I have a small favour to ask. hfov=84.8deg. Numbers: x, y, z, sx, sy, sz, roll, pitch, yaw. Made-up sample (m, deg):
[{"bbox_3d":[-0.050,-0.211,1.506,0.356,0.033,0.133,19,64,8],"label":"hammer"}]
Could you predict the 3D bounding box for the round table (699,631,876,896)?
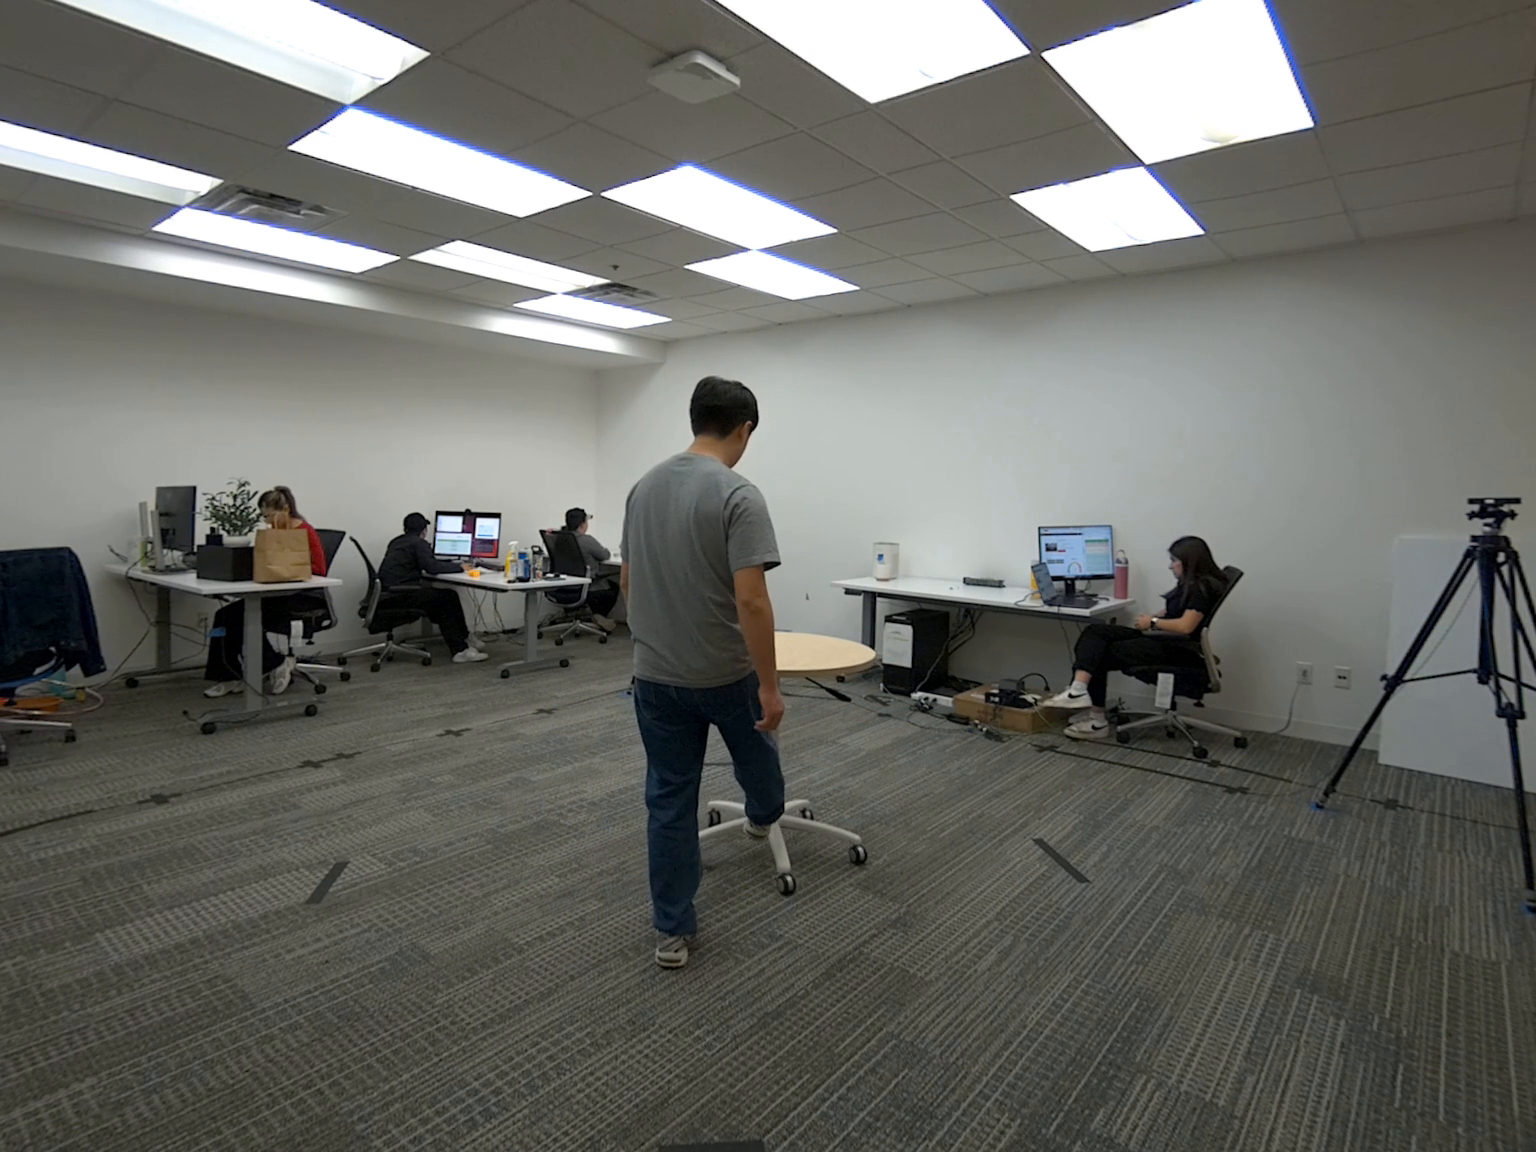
[{"bbox_3d":[0.007,0.668,3.253,0.763,0.792,0.767,1,4,-2],"label":"round table"}]
